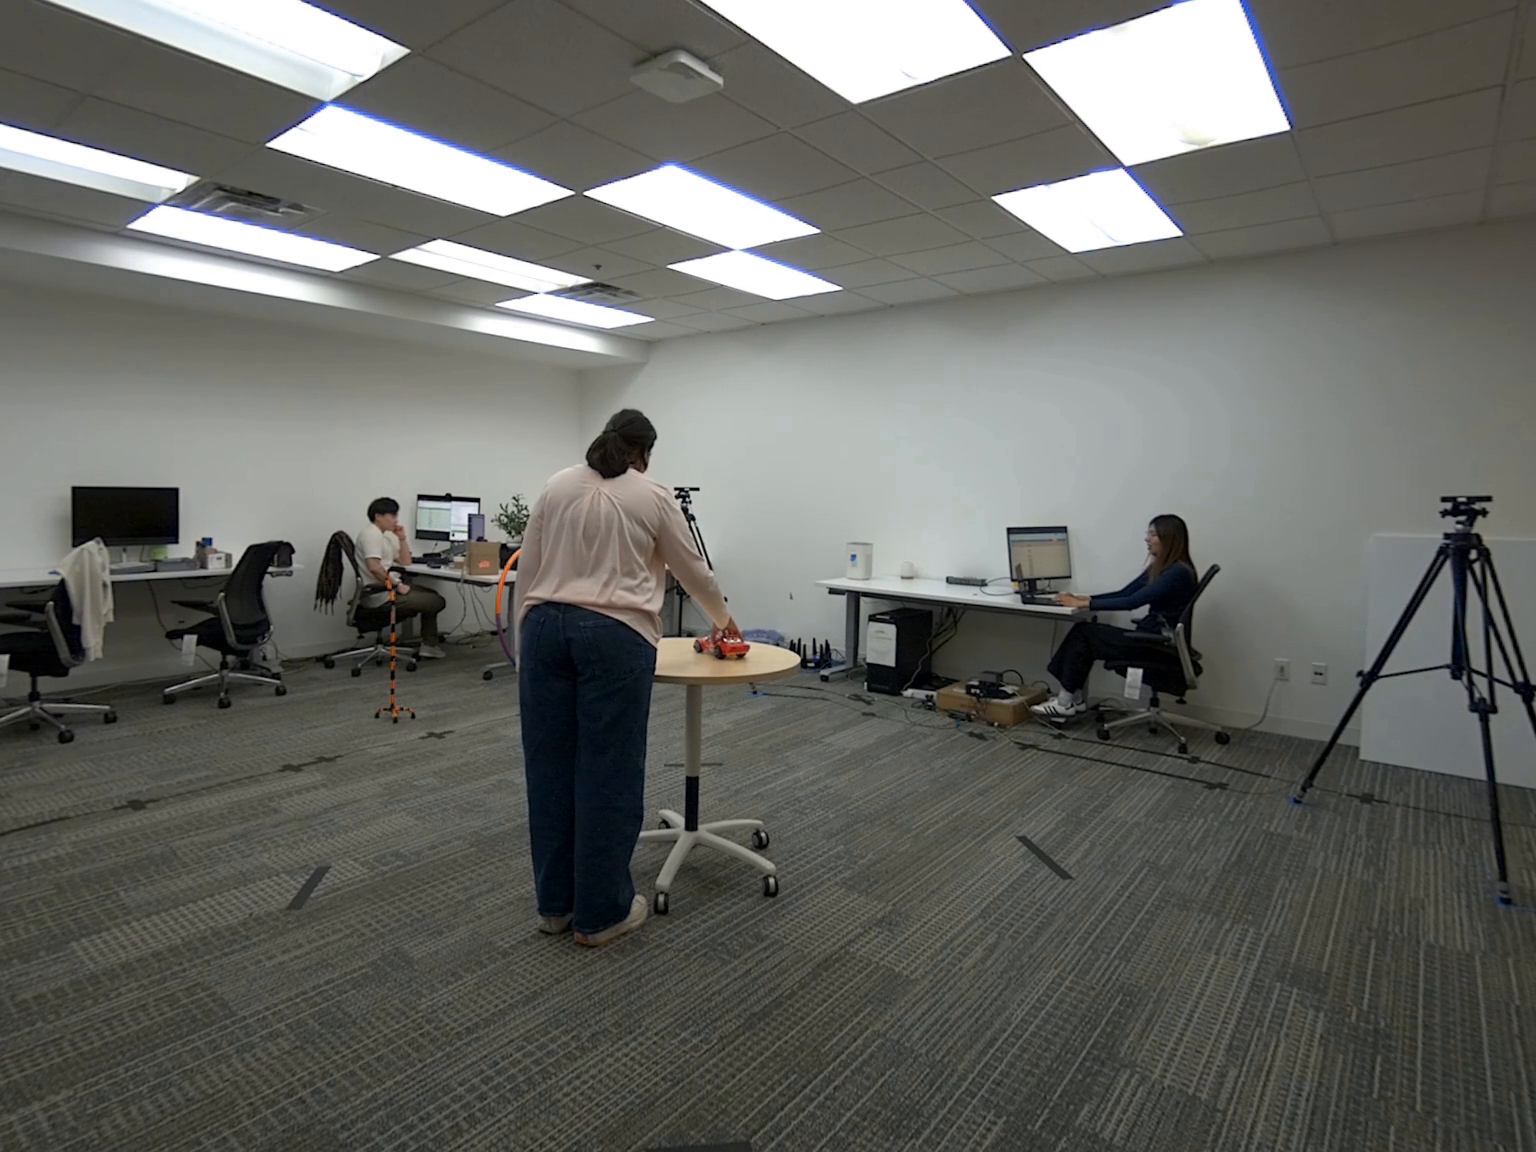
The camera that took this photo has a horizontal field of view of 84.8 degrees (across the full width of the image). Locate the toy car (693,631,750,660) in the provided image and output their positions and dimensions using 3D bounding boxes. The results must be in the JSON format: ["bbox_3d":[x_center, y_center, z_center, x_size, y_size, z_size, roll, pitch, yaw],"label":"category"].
[{"bbox_3d":[-0.176,0.255,3.093,0.126,0.084,0.260,-2,-5,-34],"label":"toy car"}]
